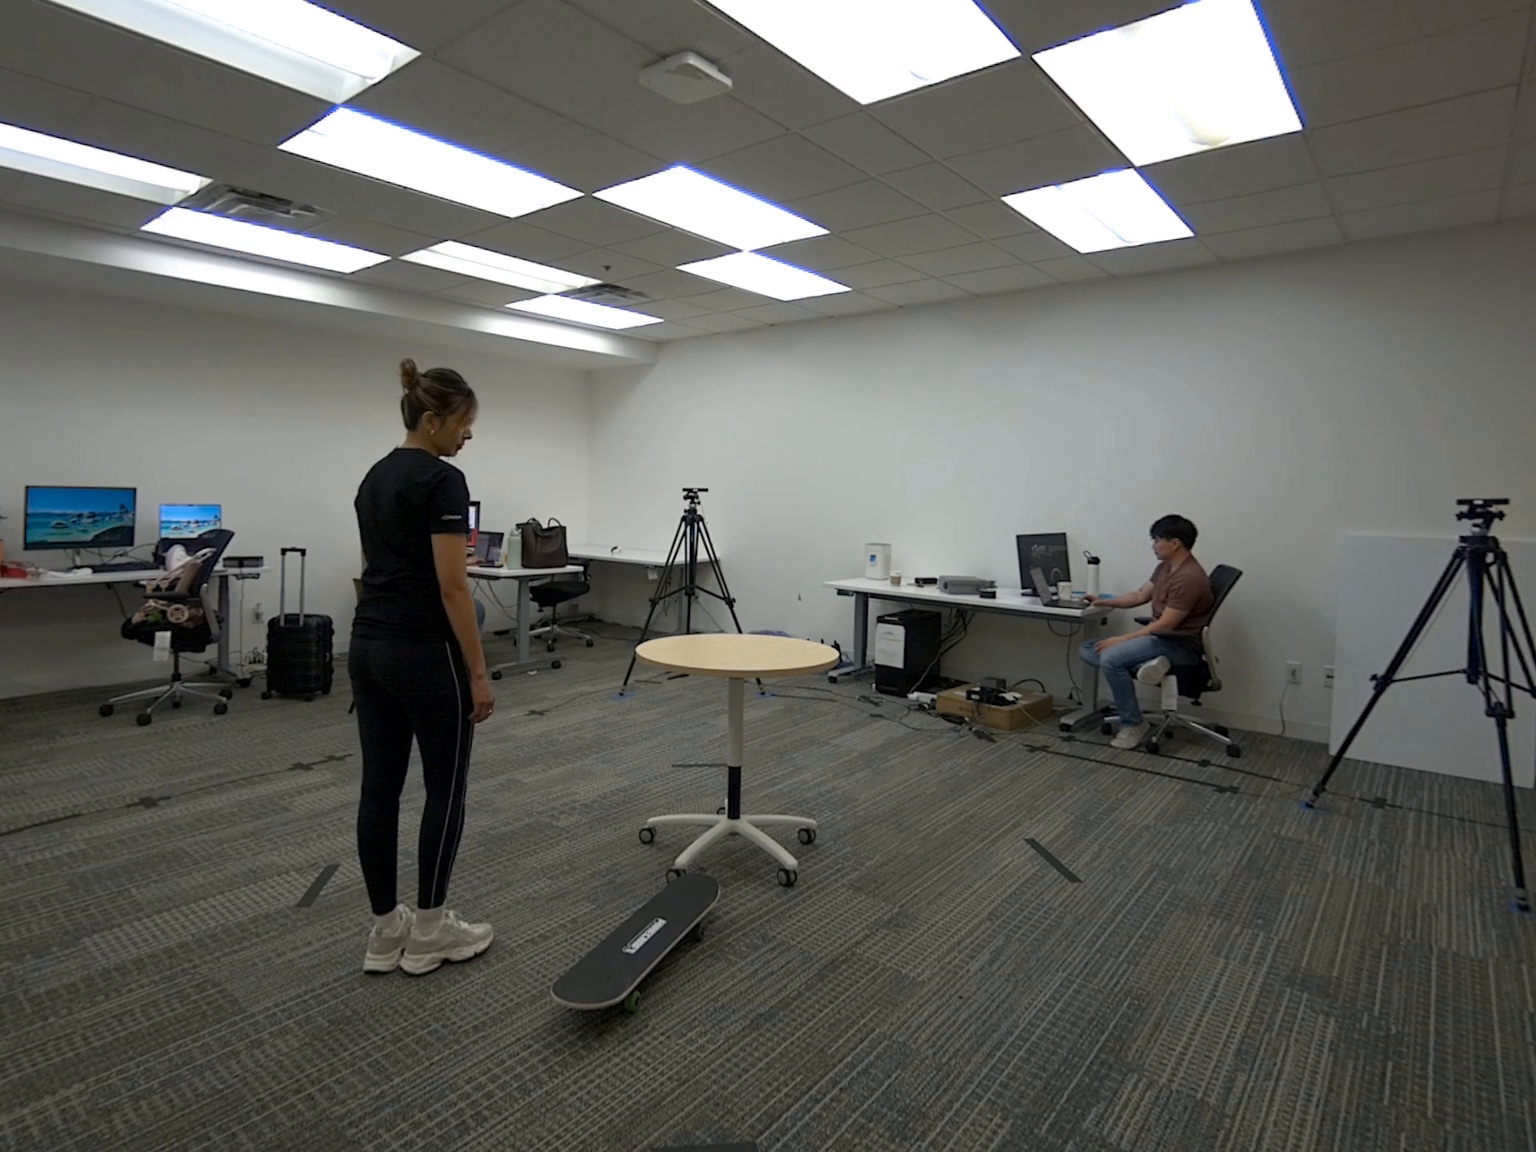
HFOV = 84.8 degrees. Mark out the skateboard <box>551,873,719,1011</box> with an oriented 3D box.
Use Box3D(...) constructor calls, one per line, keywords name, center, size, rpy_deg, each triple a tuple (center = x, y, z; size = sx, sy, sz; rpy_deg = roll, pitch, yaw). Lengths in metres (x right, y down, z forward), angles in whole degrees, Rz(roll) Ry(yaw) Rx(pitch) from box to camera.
Box3D(name="skateboard", center=(-0.368, 1.080, 2.466), size=(0.198, 0.110, 0.770), rpy_deg=(2, 6, 22))
